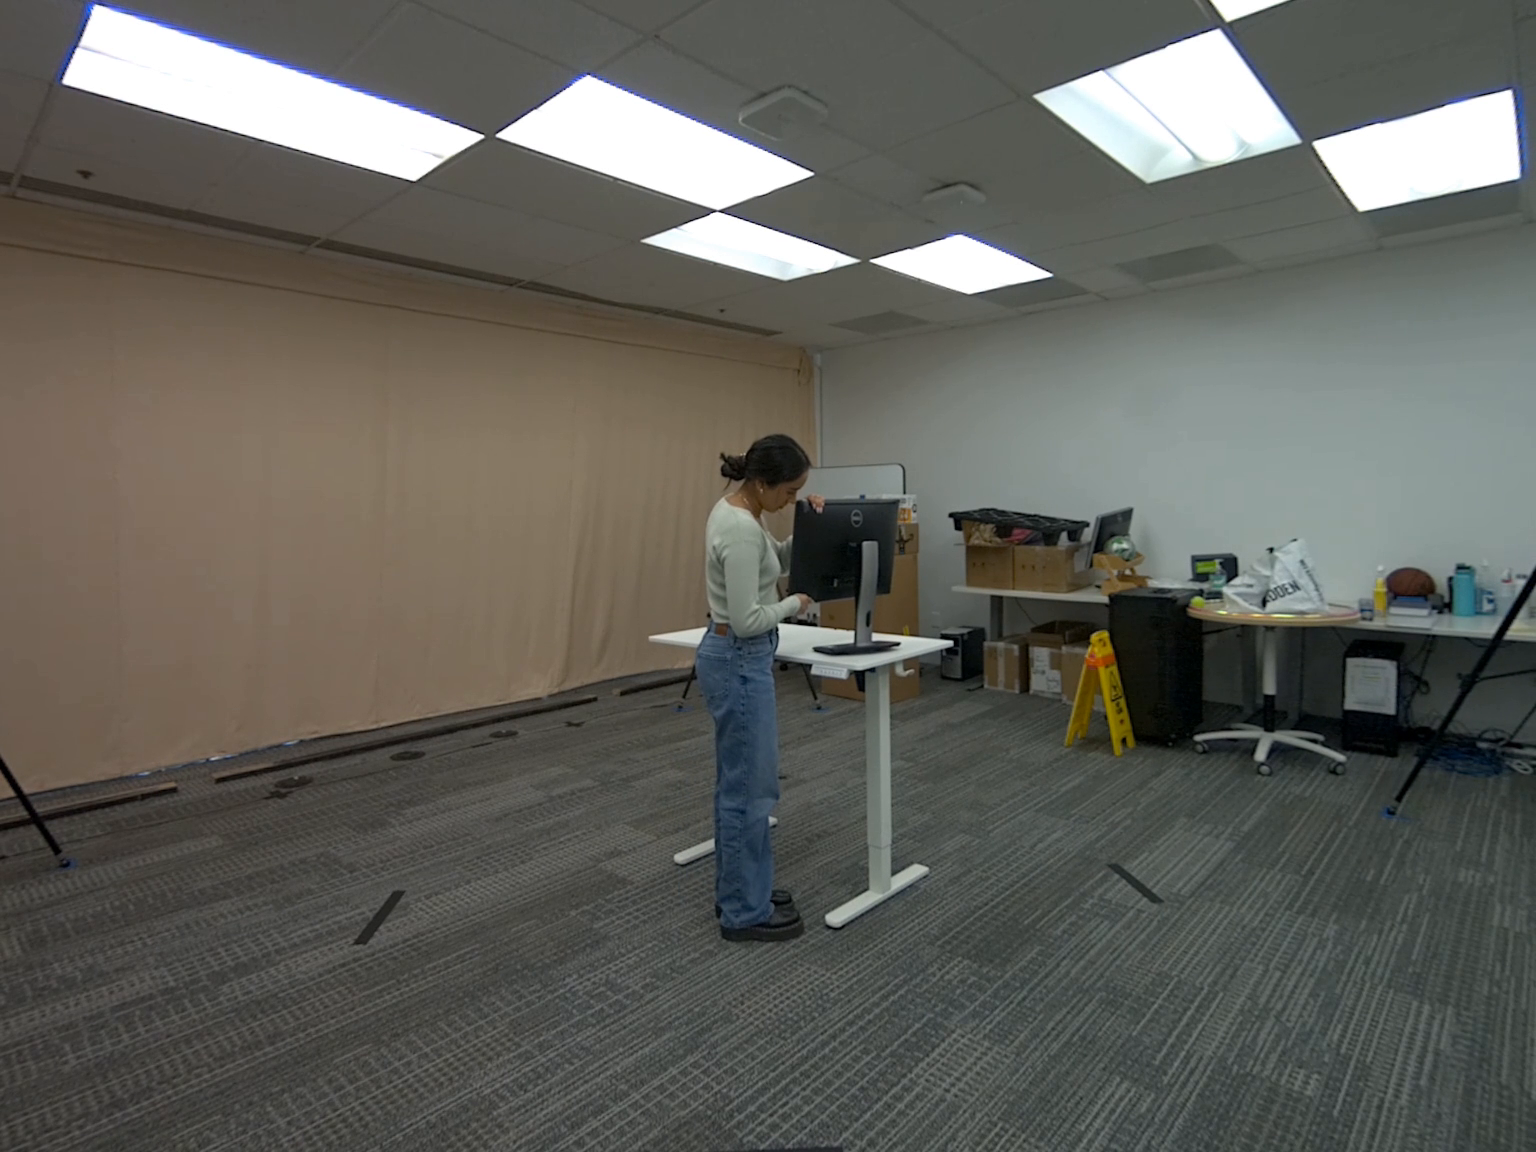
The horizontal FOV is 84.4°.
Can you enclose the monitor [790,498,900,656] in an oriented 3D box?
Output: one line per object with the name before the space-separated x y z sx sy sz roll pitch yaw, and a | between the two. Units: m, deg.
monitor | 0.304 0.001 2.876 0.523 0.523 0.193 -4 0 -43
